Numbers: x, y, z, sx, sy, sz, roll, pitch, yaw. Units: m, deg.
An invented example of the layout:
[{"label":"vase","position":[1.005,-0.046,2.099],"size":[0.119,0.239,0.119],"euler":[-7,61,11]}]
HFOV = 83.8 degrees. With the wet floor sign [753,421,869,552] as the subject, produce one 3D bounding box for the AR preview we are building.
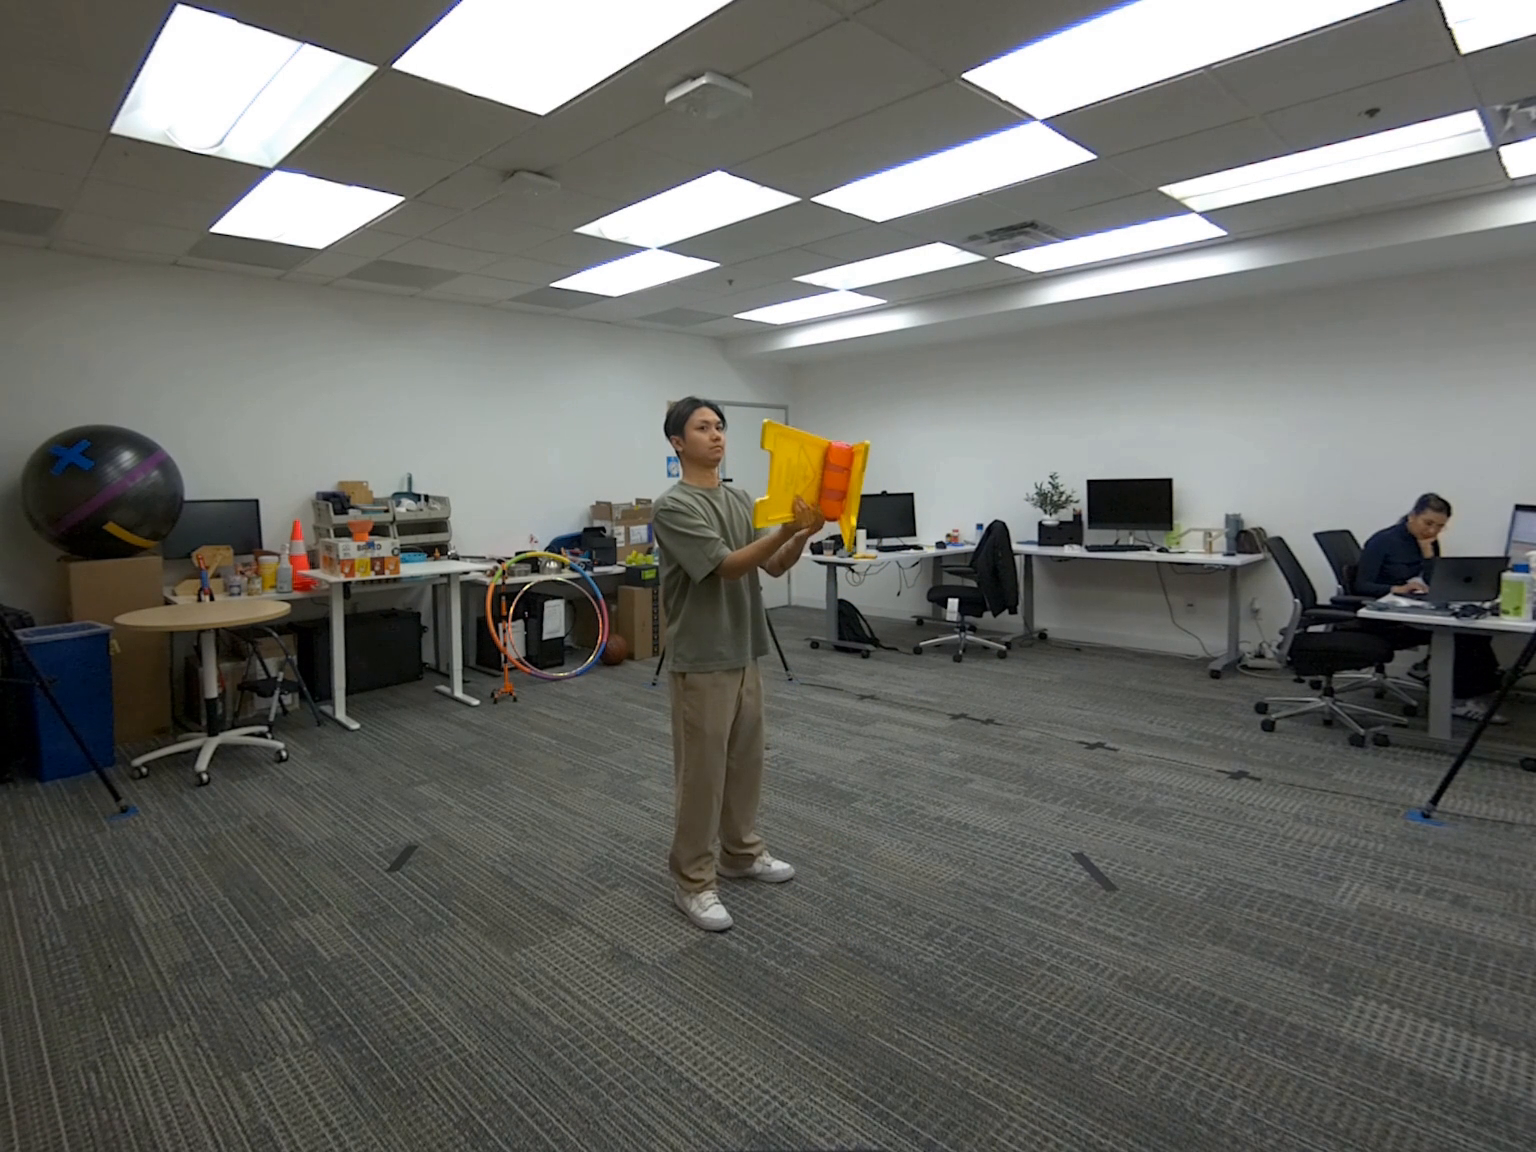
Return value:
[{"label":"wet floor sign","position":[0.178,-0.271,2.440],"size":[0.294,0.280,0.640],"euler":[11,9,12]}]
